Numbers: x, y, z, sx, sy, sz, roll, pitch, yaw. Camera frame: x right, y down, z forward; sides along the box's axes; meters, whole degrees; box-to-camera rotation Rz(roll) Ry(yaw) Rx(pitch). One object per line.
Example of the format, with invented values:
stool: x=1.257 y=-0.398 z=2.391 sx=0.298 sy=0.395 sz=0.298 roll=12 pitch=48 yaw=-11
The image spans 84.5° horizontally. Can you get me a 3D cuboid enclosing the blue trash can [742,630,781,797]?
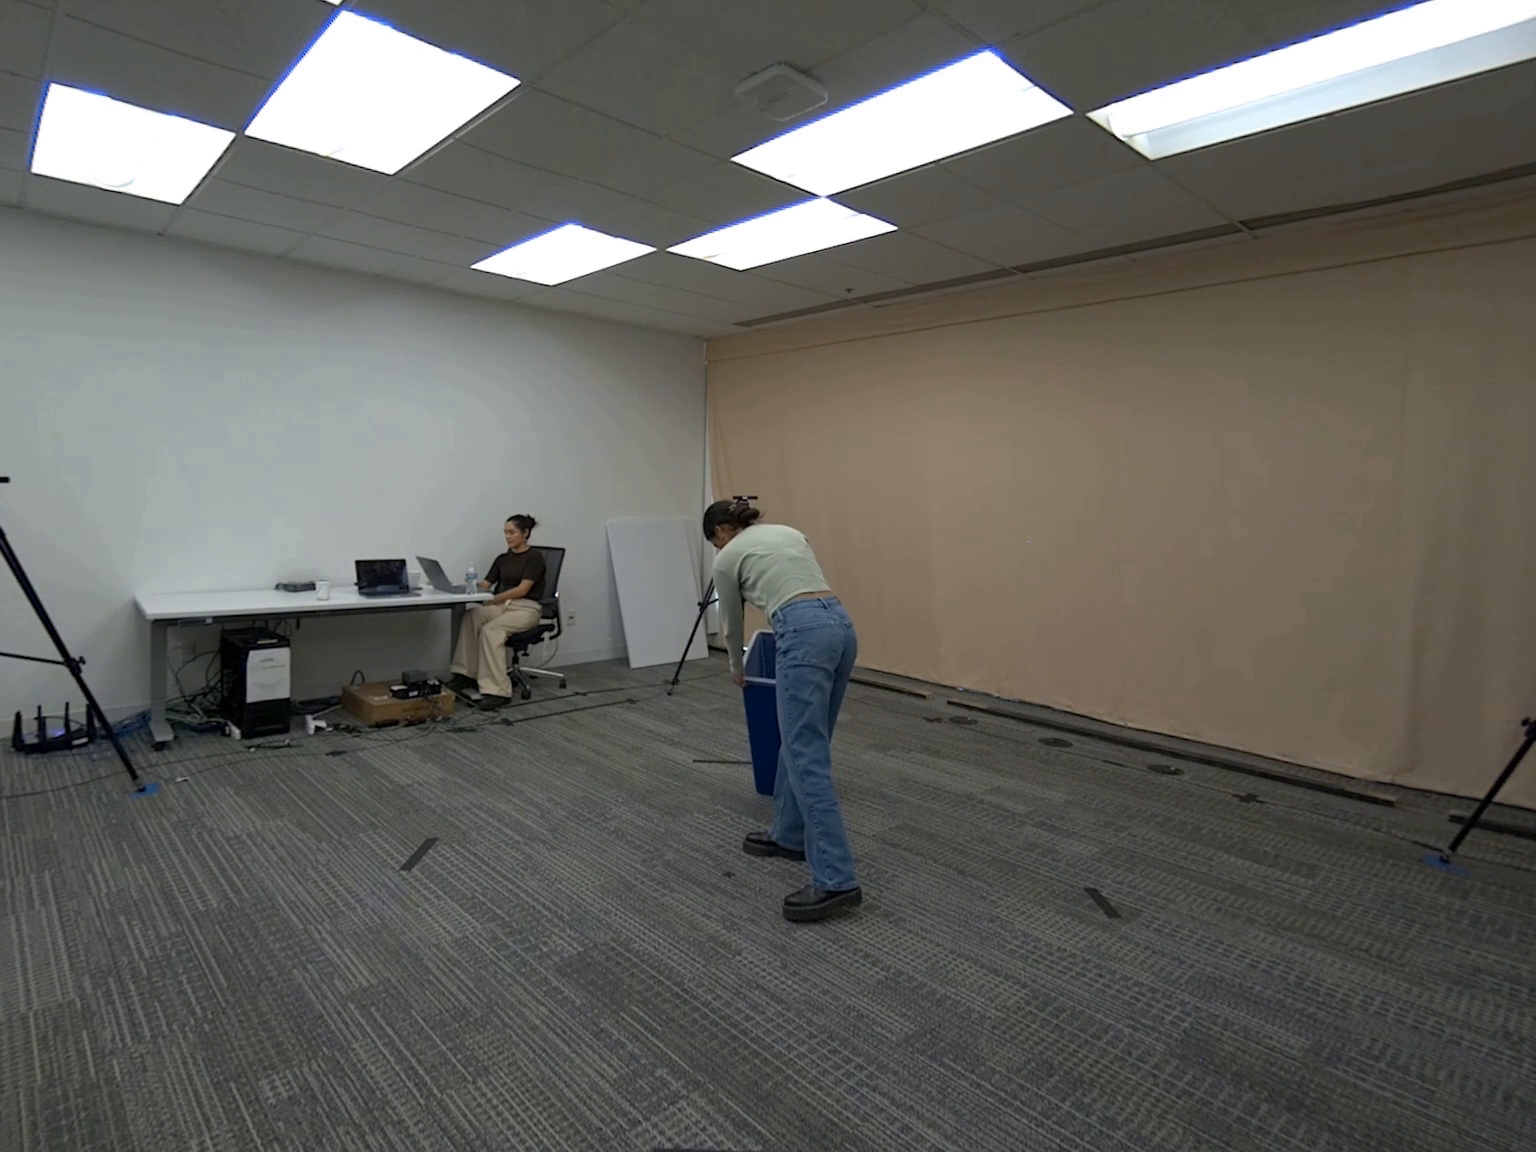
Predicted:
blue trash can: x=0.081 y=0.659 z=3.877 sx=0.382 sy=0.699 sz=0.378 roll=3 pitch=30 yaw=12
